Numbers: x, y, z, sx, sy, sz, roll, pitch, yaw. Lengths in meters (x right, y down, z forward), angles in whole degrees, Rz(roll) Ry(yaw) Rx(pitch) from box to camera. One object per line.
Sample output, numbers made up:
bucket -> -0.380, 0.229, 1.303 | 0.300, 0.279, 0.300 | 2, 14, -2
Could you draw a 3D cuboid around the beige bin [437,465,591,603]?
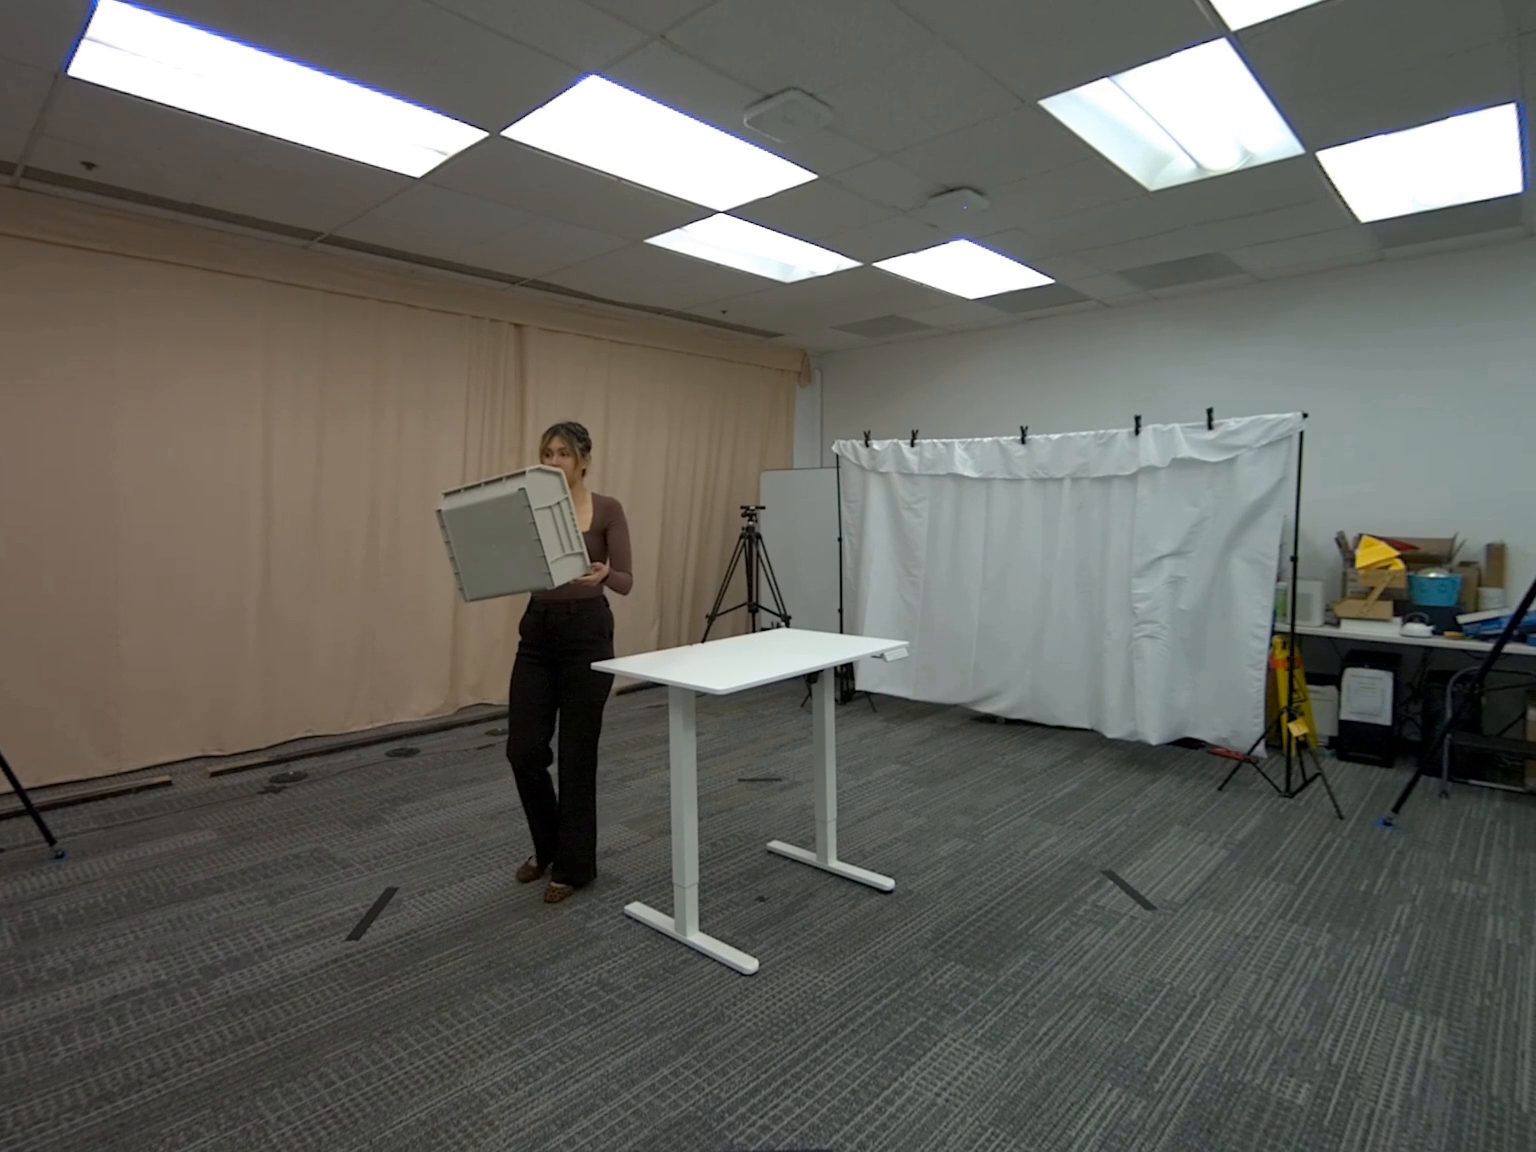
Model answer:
beige bin -> -0.808, -0.126, 2.664 | 0.433, 0.375, 0.185 | -9, 8, 31
